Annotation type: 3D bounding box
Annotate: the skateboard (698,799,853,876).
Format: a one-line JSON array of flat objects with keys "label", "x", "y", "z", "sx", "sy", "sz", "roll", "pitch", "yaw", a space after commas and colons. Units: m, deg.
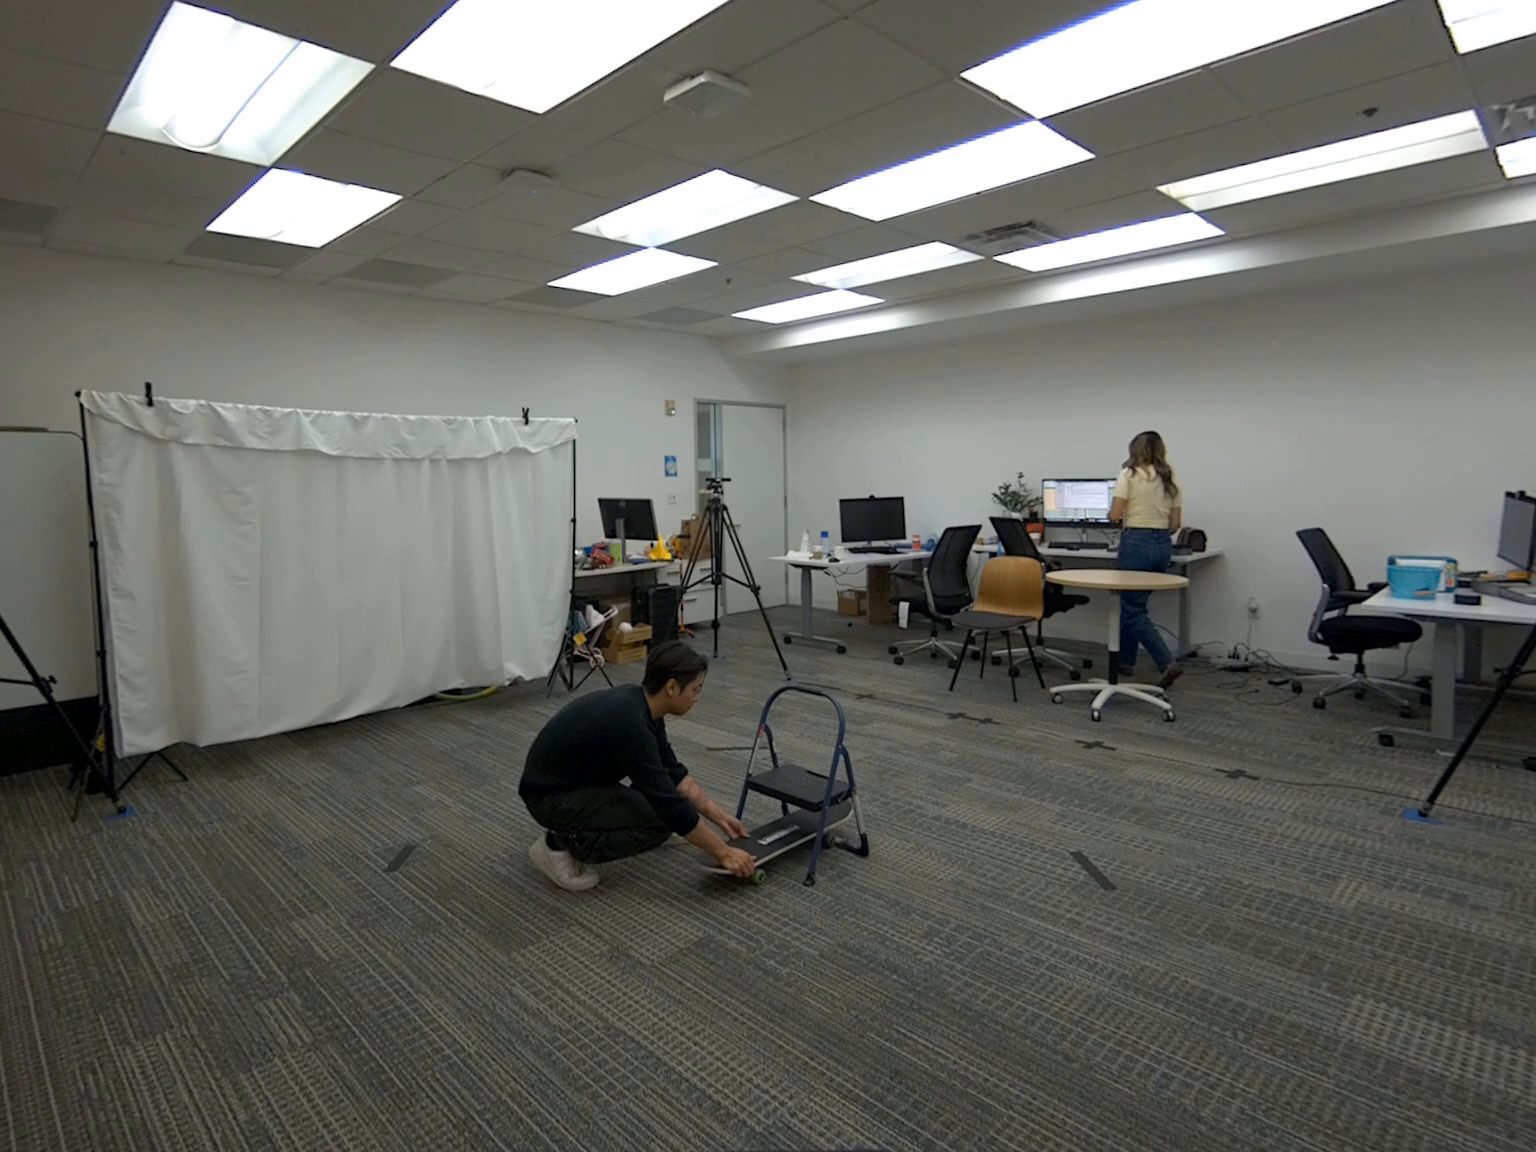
[{"label": "skateboard", "x": 0.029, "y": 0.969, "z": 3.144, "sx": 0.199, "sy": 0.110, "sz": 0.765, "roll": 3, "pitch": 8, "yaw": 43}]
